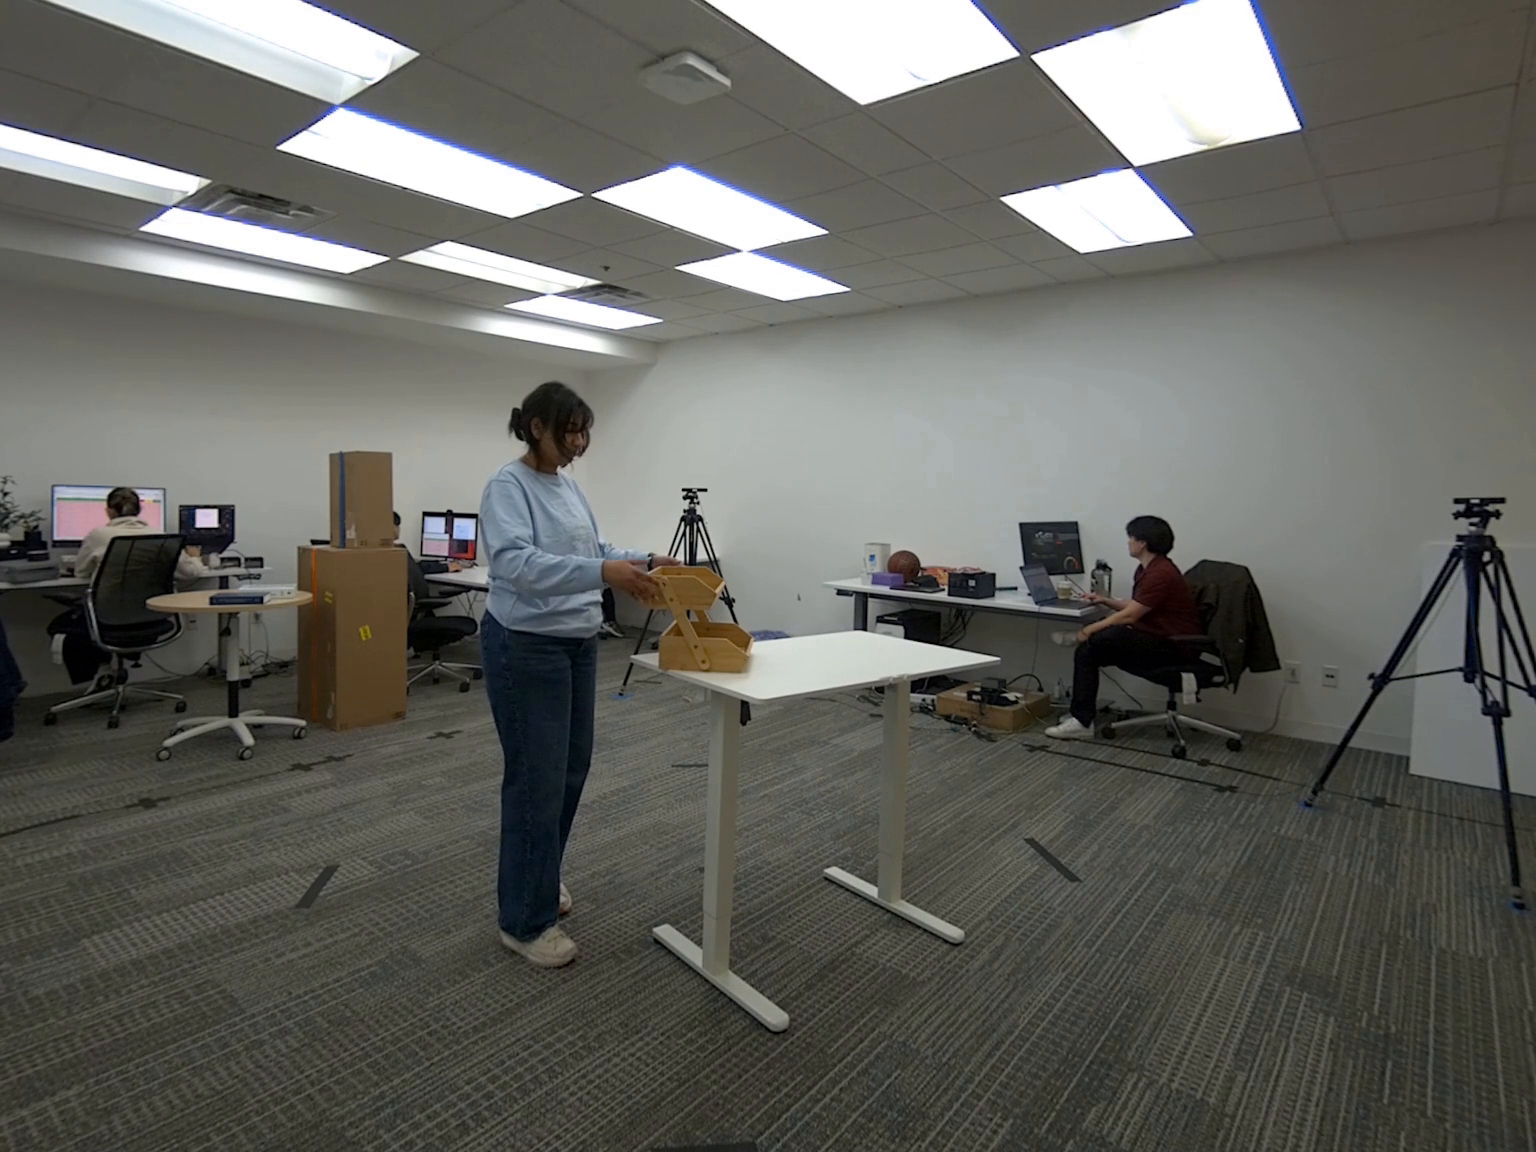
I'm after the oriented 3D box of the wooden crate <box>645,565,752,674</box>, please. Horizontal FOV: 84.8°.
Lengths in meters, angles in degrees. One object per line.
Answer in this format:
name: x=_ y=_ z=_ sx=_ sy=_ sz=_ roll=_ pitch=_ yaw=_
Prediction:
wooden crate: x=-0.205 y=0.114 z=2.479 sx=0.303 sy=0.272 sz=0.325 roll=0 pitch=5 yaw=2
